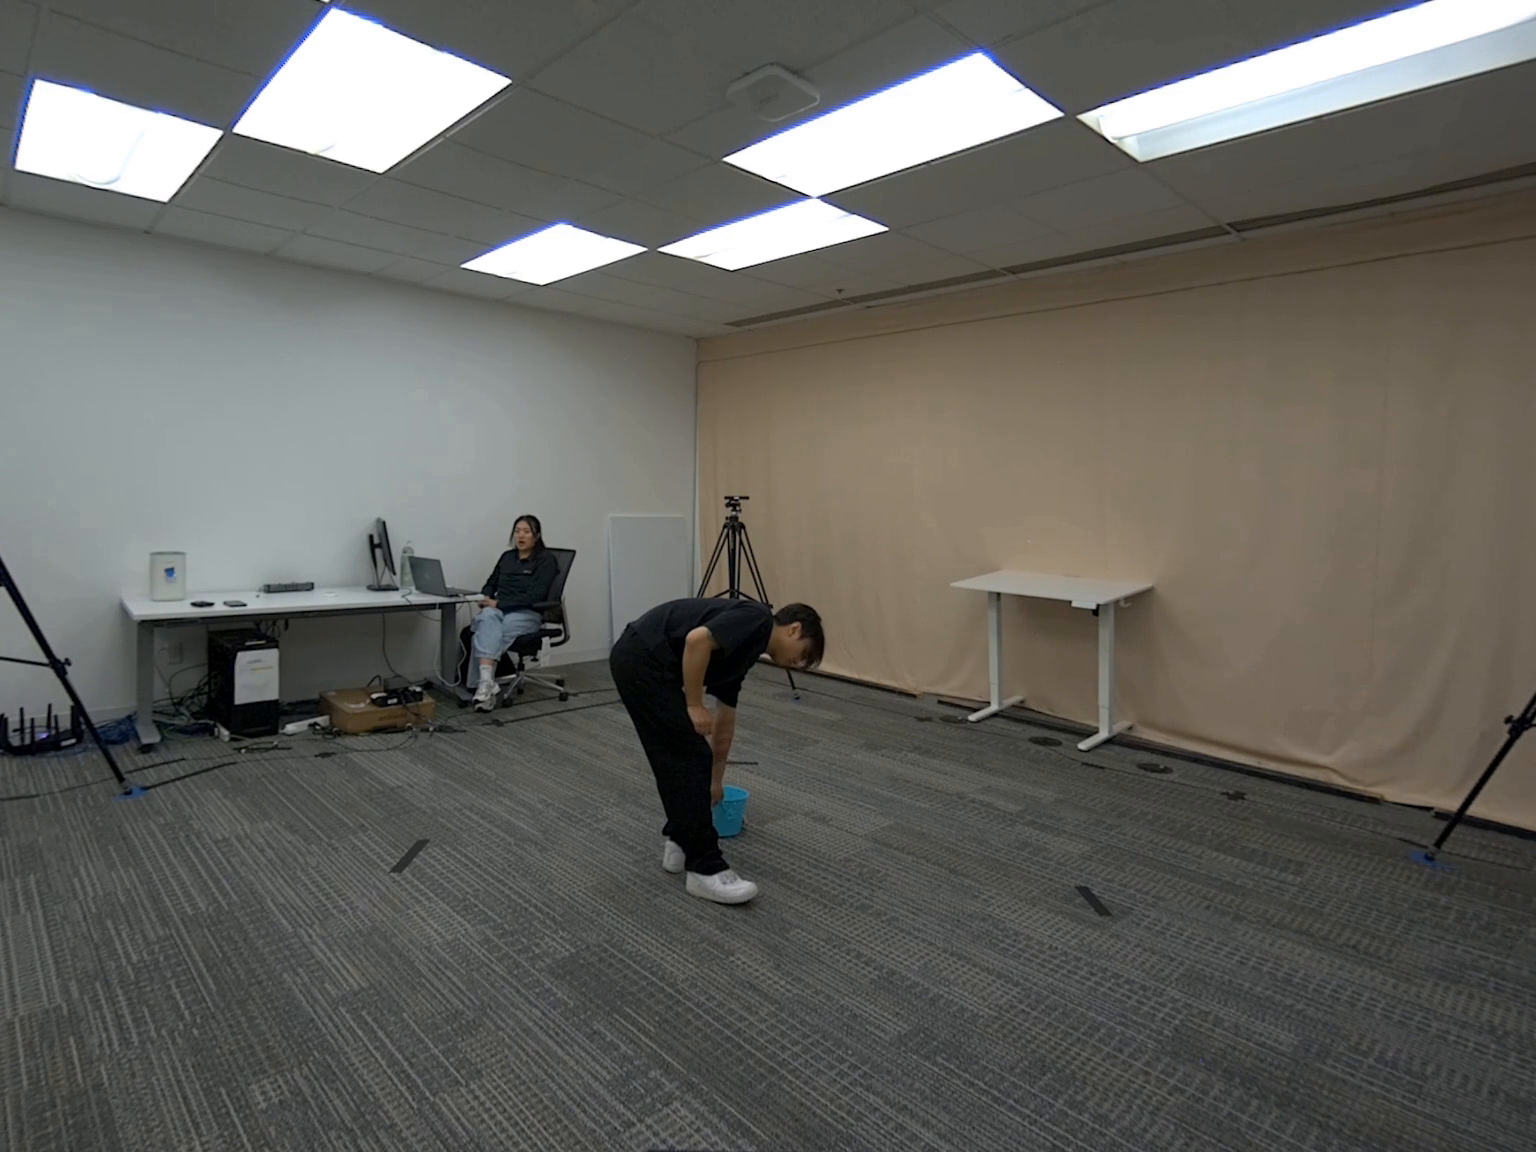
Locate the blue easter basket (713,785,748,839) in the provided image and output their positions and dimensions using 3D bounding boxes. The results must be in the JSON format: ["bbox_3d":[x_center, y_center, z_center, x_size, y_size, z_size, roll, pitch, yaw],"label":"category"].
[{"bbox_3d":[-0.208,0.983,3.531,0.243,0.156,0.244,3,0,-1],"label":"blue easter basket"}]
